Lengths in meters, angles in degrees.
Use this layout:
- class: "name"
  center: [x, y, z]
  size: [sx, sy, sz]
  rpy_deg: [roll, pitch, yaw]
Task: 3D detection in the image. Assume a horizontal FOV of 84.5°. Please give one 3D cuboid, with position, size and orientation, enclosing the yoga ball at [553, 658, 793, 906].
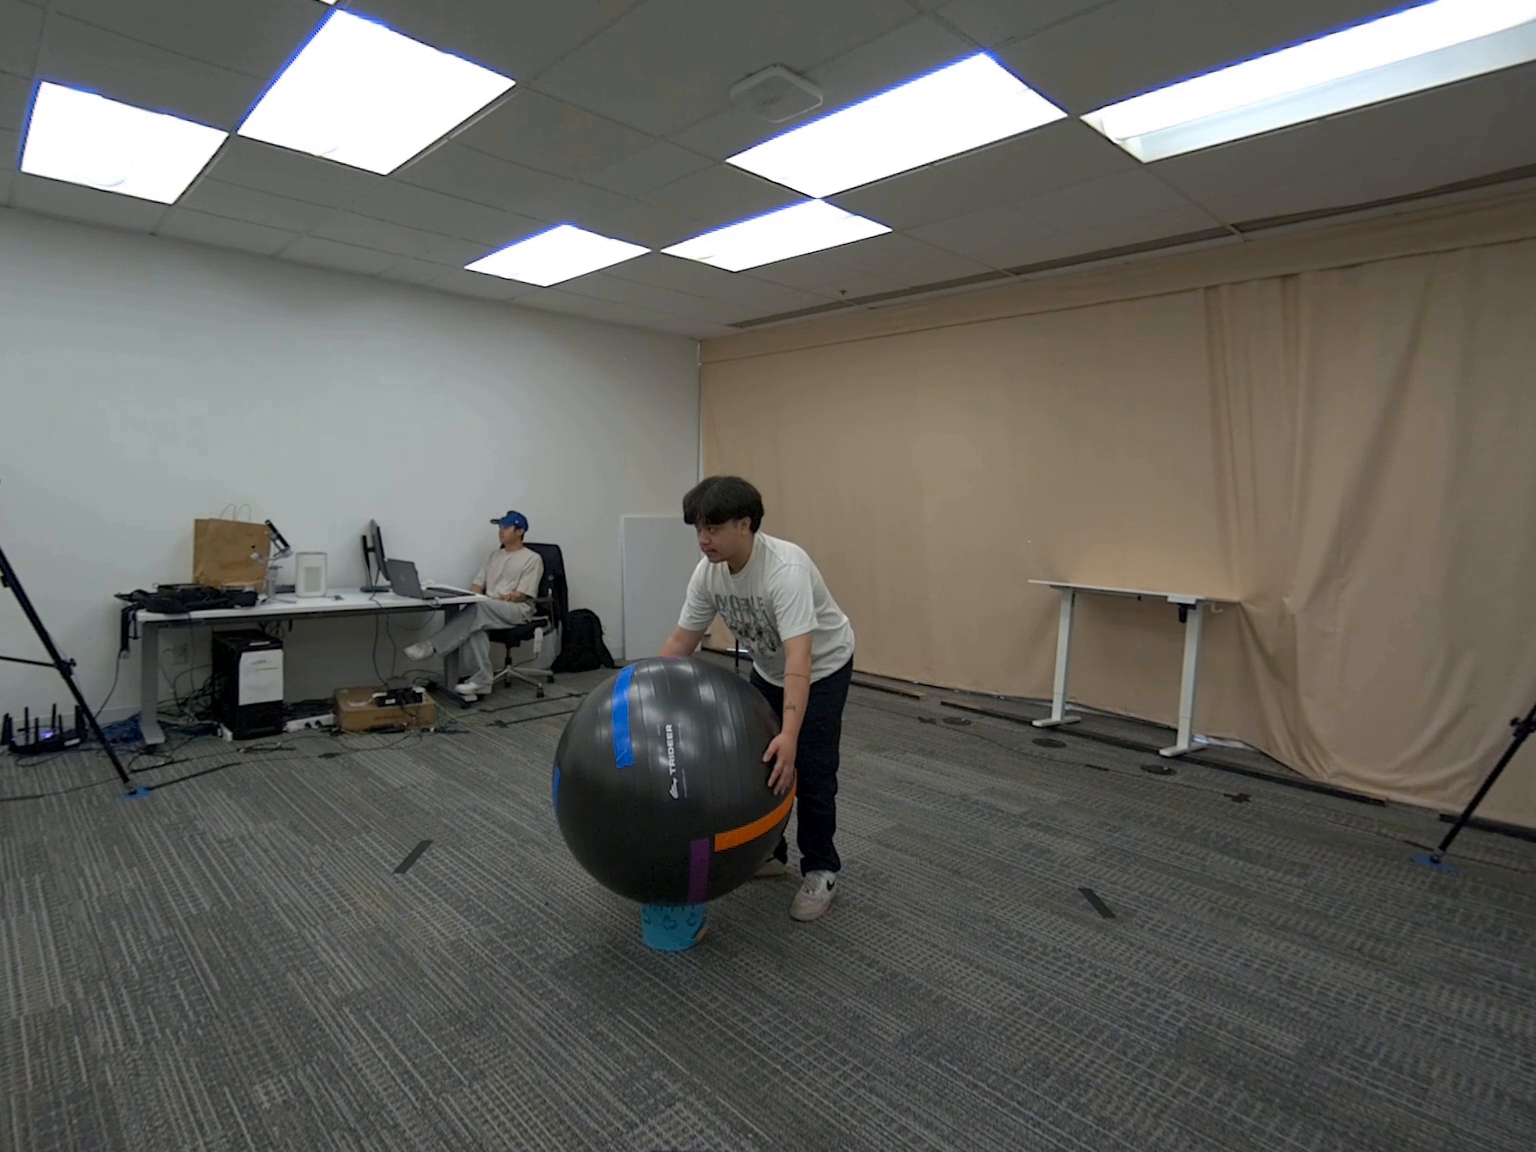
- class: "yoga ball"
  center: [-0.296, 0.638, 2.647]
  size: [0.757, 0.756, 0.760]
  rpy_deg: [1, 4, -1]
